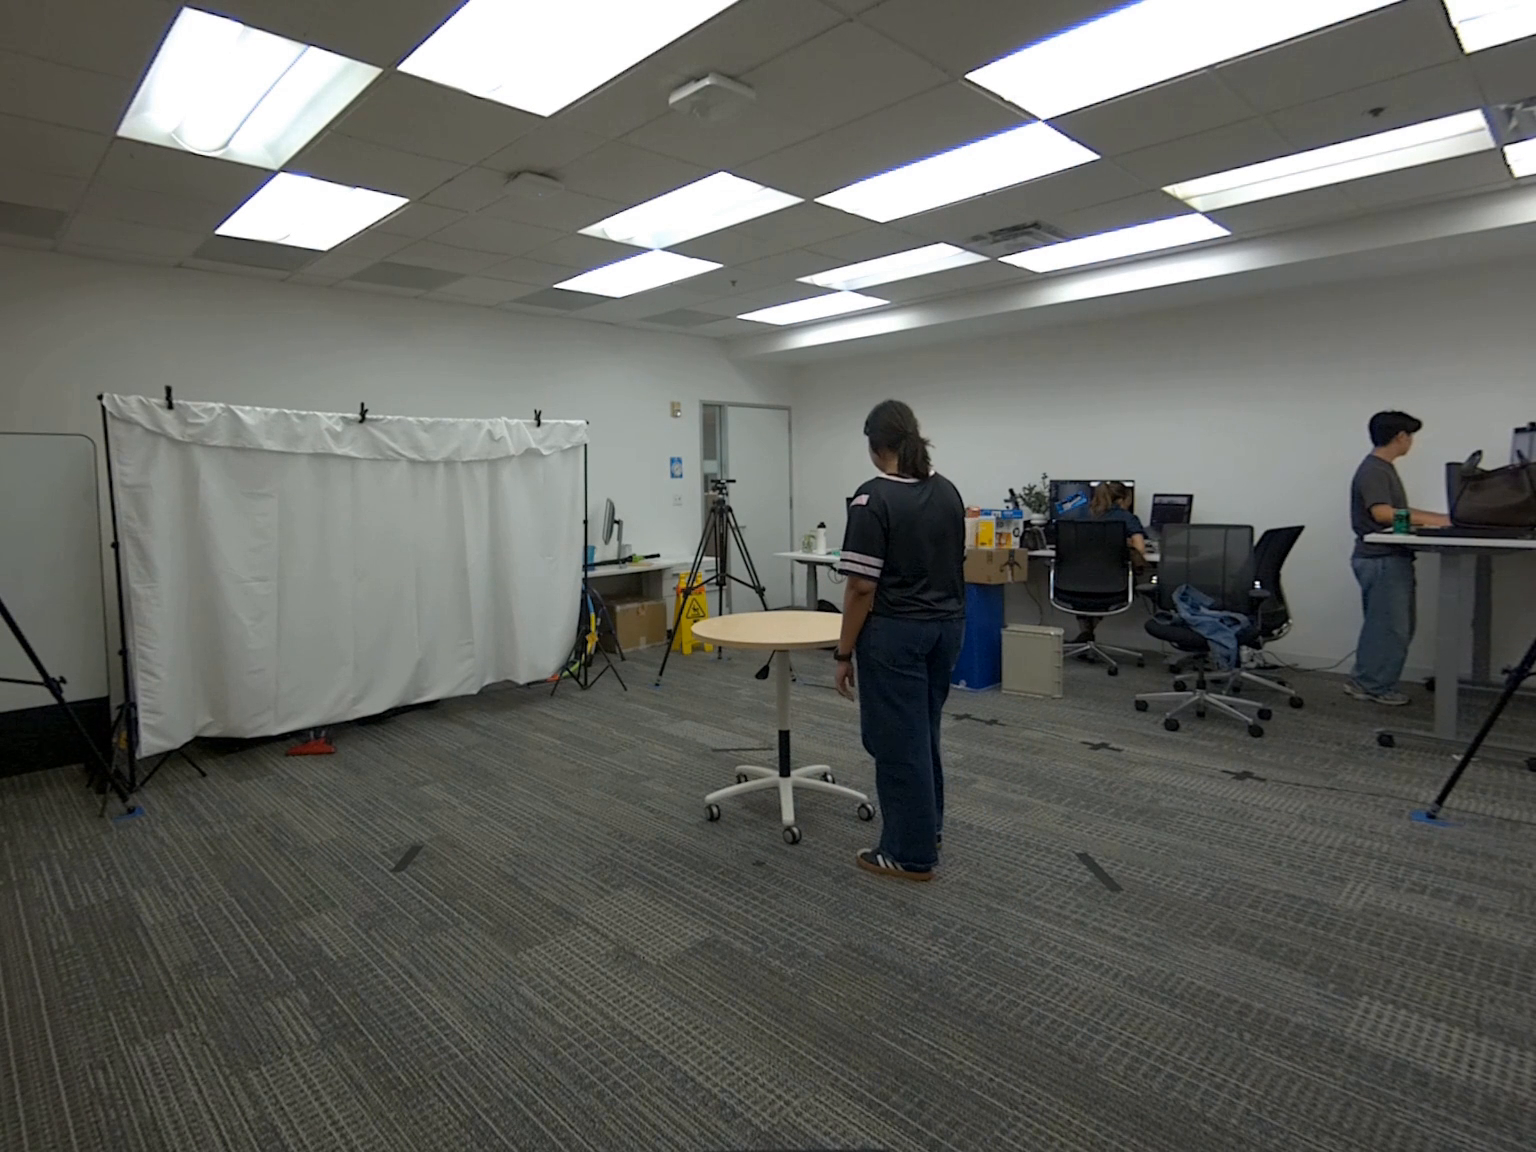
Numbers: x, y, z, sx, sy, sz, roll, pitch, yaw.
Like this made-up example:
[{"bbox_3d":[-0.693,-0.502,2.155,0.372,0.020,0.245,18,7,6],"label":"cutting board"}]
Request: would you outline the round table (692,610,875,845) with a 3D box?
[{"bbox_3d":[0.073,0.600,3.605,0.763,0.791,0.768,-1,5,-2],"label":"round table"}]
